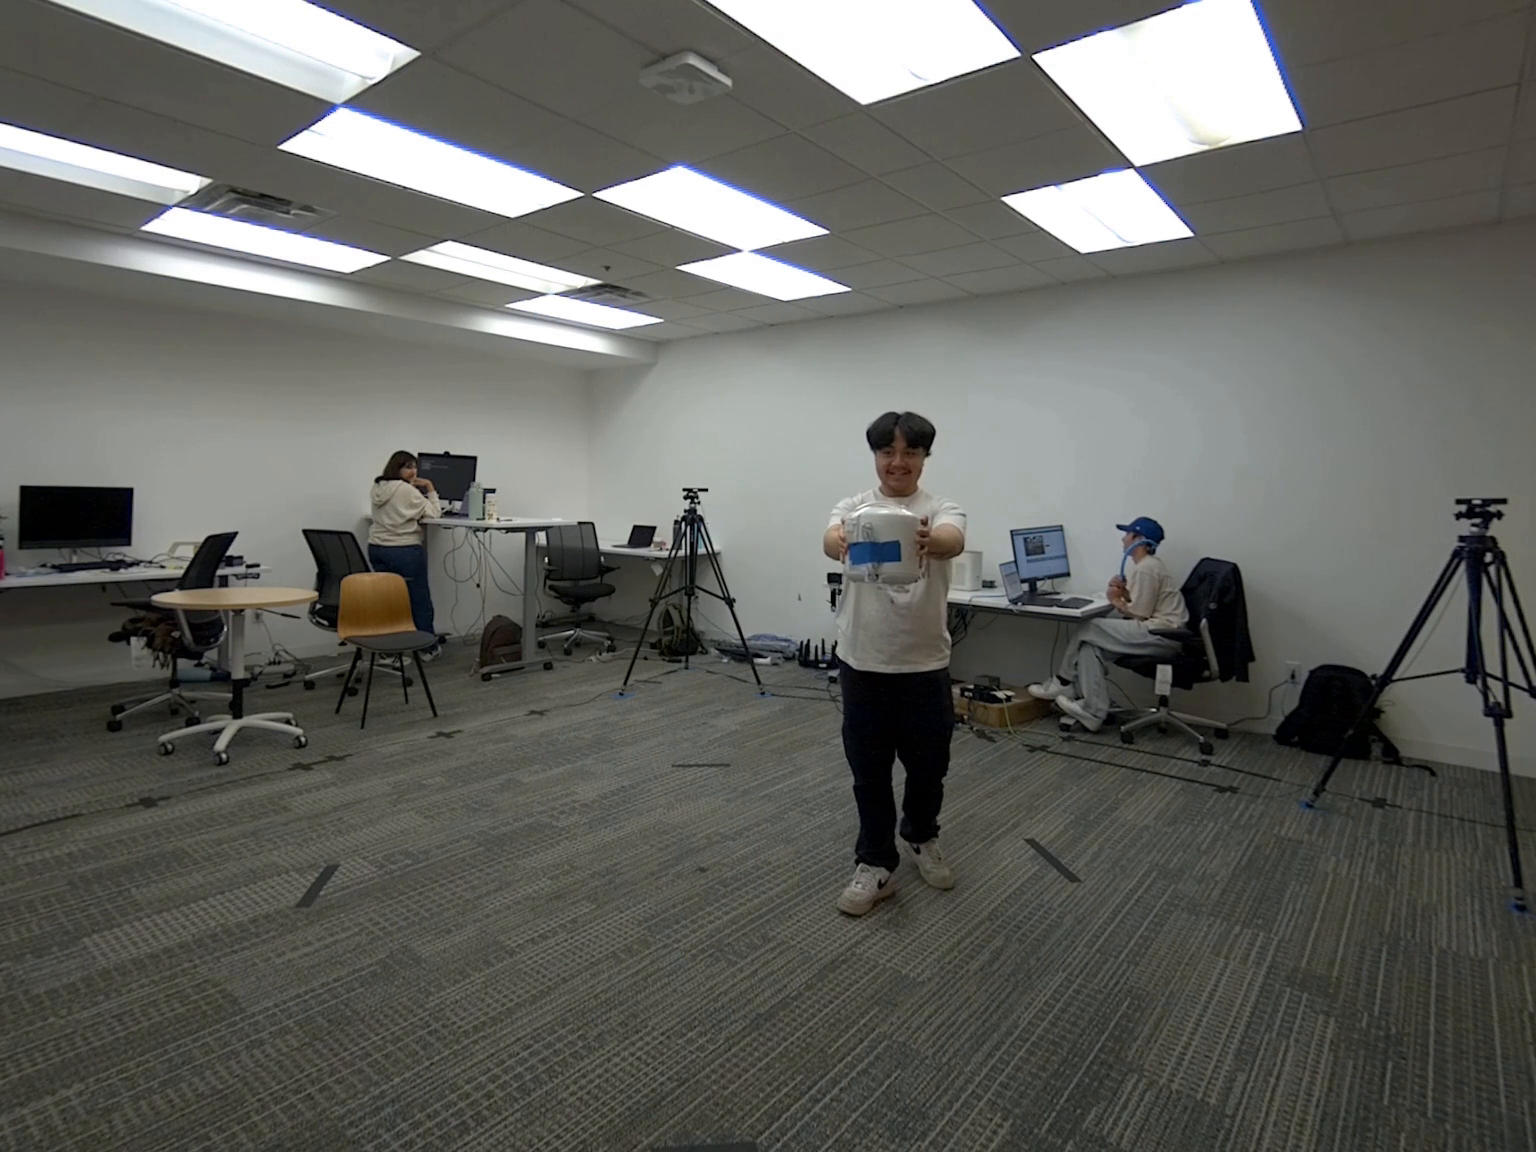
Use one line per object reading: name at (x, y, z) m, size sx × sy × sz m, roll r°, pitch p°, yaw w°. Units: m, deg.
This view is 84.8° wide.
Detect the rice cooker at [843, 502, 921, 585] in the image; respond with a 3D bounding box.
rice cooker at (0.307, -0.098, 2.385) m, size 0.216 × 0.233 × 0.221 m, roll 4°, pitch -3°, yaw -20°
